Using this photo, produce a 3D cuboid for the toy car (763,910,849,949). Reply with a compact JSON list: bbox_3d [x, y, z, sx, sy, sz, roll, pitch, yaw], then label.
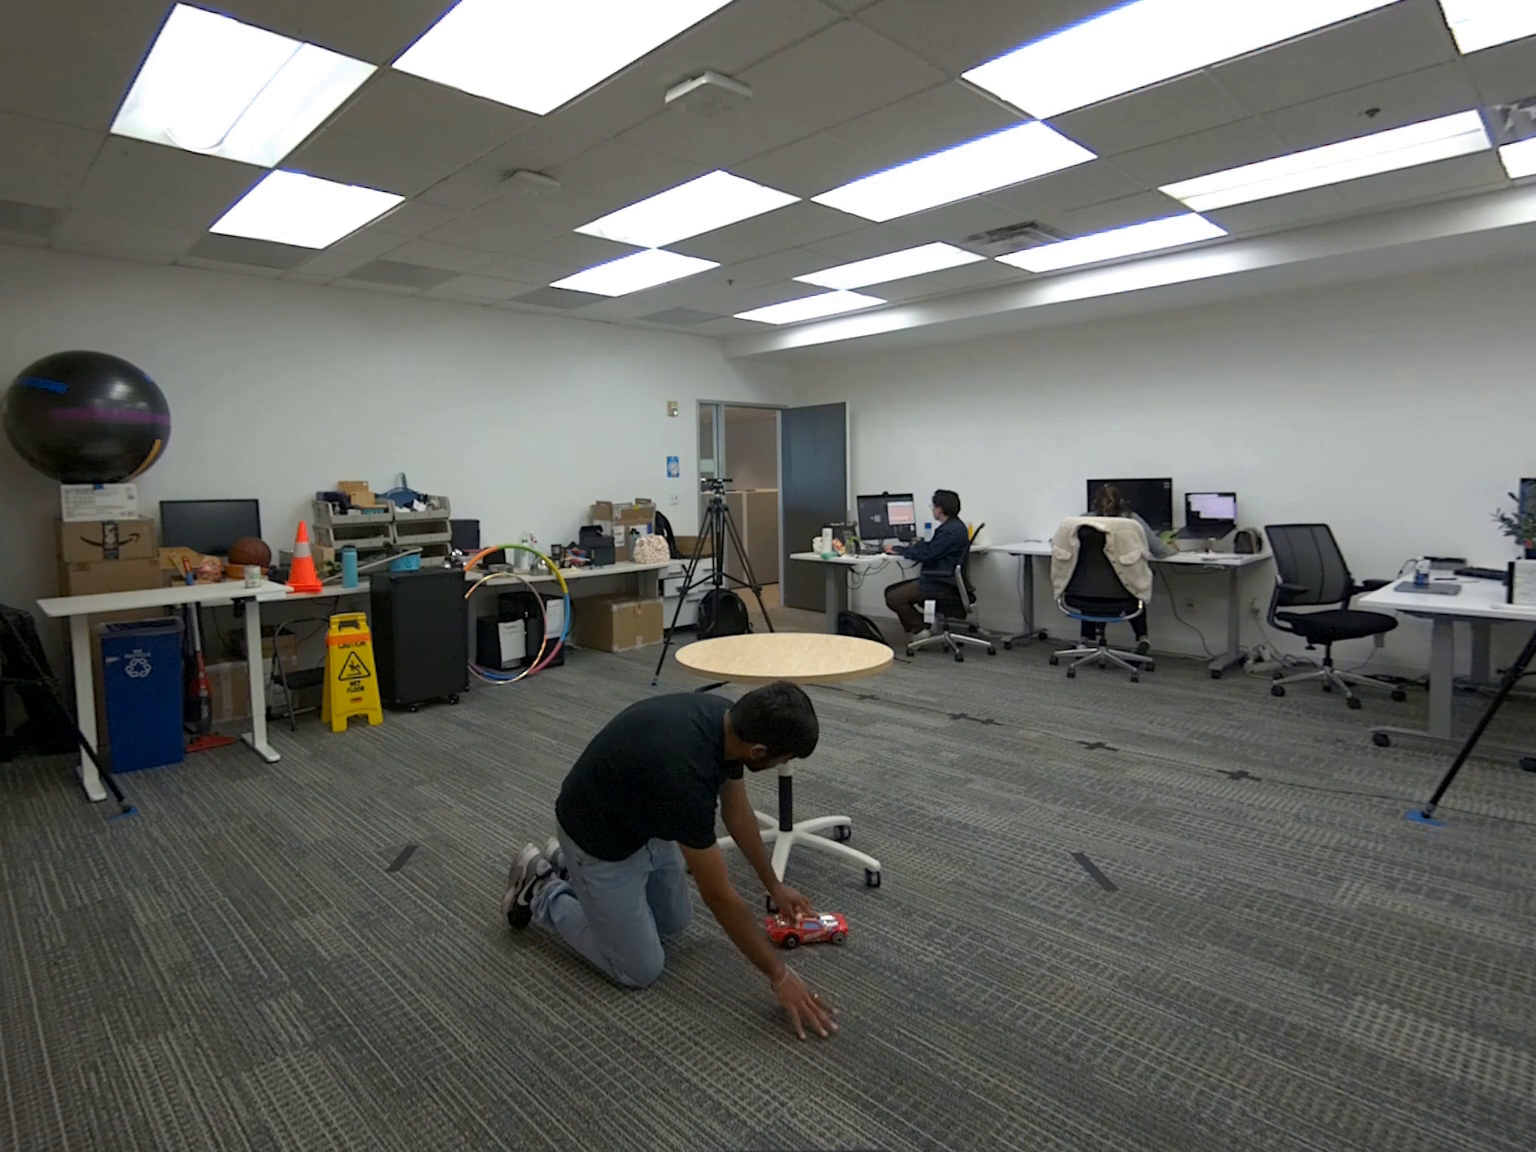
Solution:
[{"bbox_3d":[0.108,1.068,2.595,0.253,0.083,0.131,8,5,-4],"label":"toy car"}]
